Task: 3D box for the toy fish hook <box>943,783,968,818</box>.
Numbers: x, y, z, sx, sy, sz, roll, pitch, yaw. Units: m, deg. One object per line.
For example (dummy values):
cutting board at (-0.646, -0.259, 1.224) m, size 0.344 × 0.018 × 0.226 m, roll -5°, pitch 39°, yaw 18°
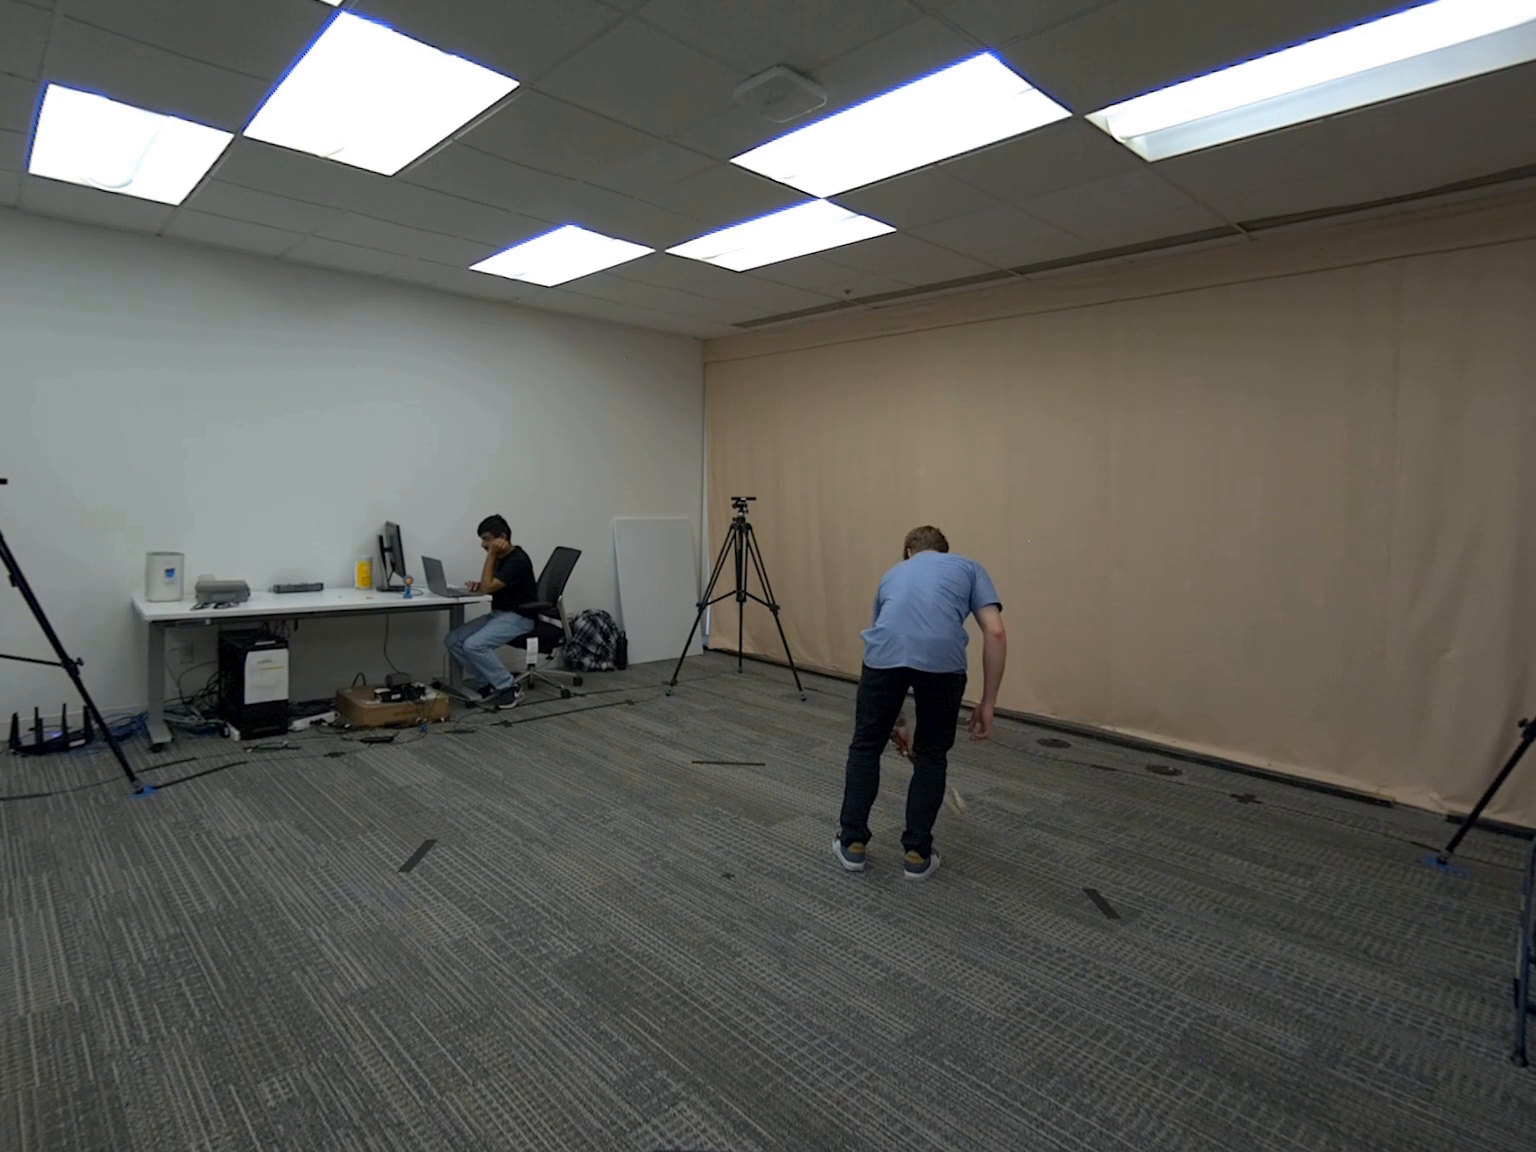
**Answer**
toy fish hook at (0.651, 0.818, 3.536) m, size 0.048 × 0.505 × 0.225 m, roll -39°, pitch 2°, yaw 8°
